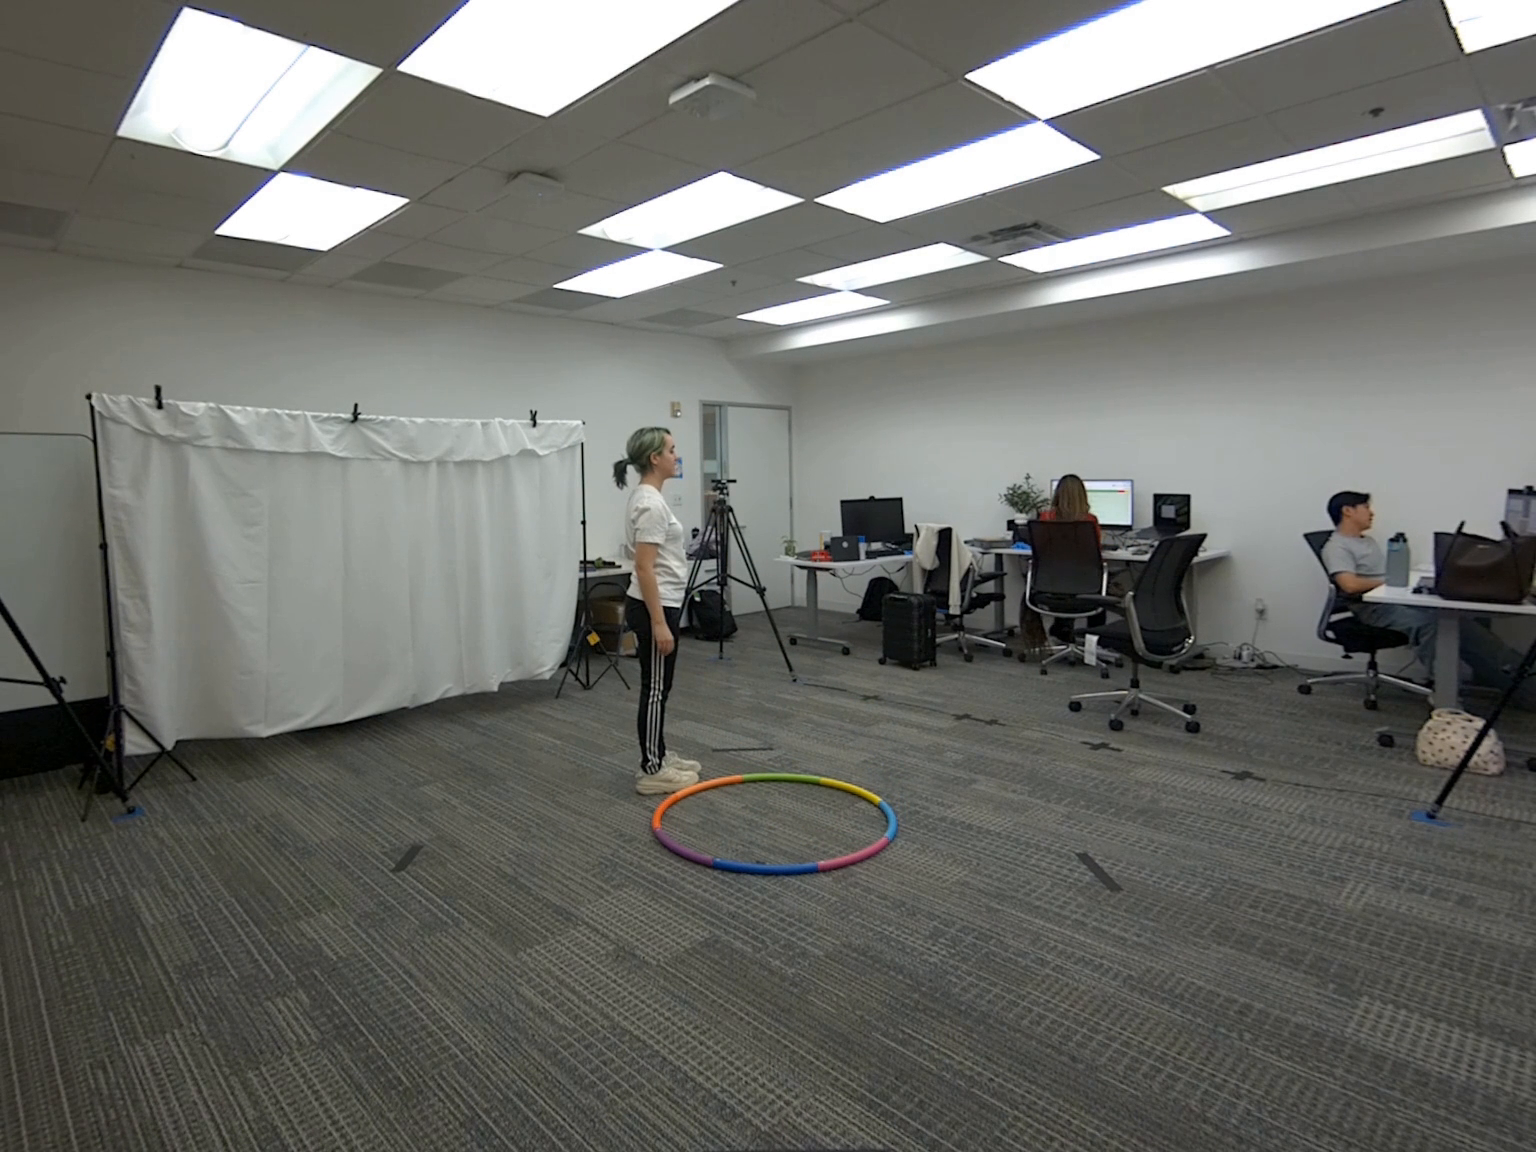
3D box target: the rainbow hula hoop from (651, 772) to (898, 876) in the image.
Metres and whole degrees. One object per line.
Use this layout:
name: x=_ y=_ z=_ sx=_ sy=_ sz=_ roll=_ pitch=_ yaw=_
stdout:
rainbow hula hoop: x=0.022 y=0.975 z=3.489 sx=0.978 sy=0.035 sz=0.984 roll=-1 pitch=7 yaw=-2
